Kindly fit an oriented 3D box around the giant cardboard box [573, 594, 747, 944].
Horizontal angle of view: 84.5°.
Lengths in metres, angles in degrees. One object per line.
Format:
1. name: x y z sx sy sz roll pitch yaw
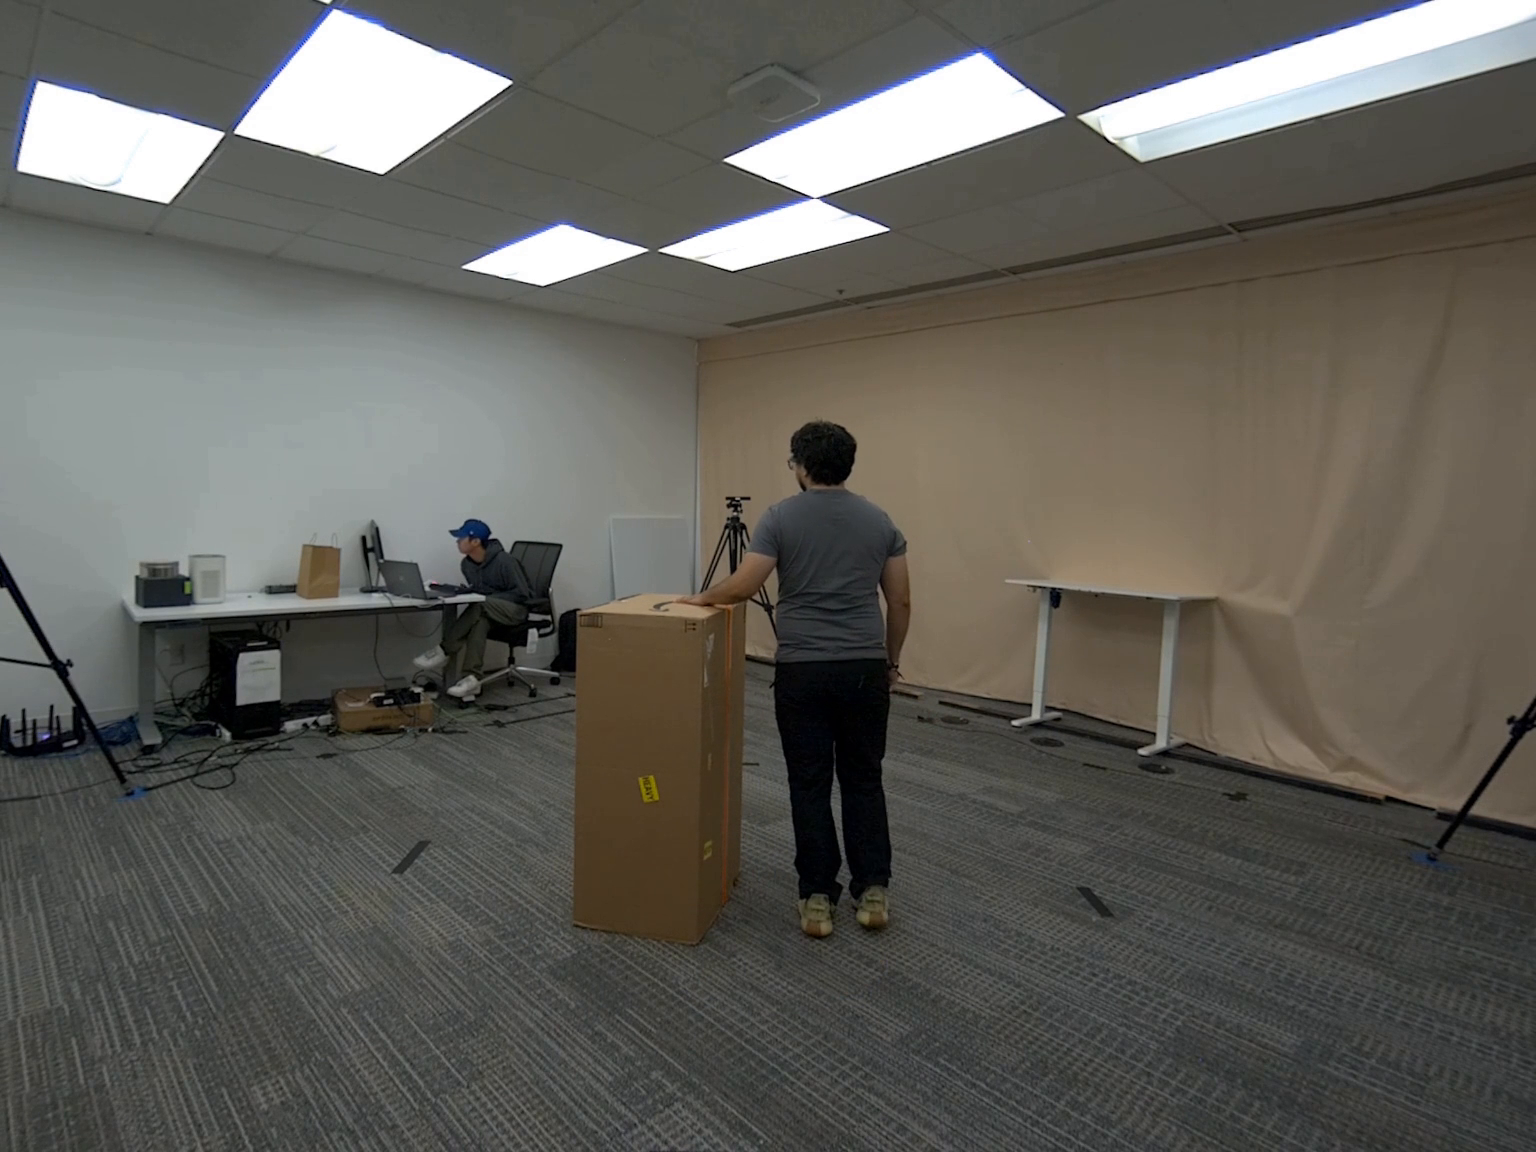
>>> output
1. giant cardboard box: -0.356 0.609 2.912 0.431 1.024 0.572 2 3 13
